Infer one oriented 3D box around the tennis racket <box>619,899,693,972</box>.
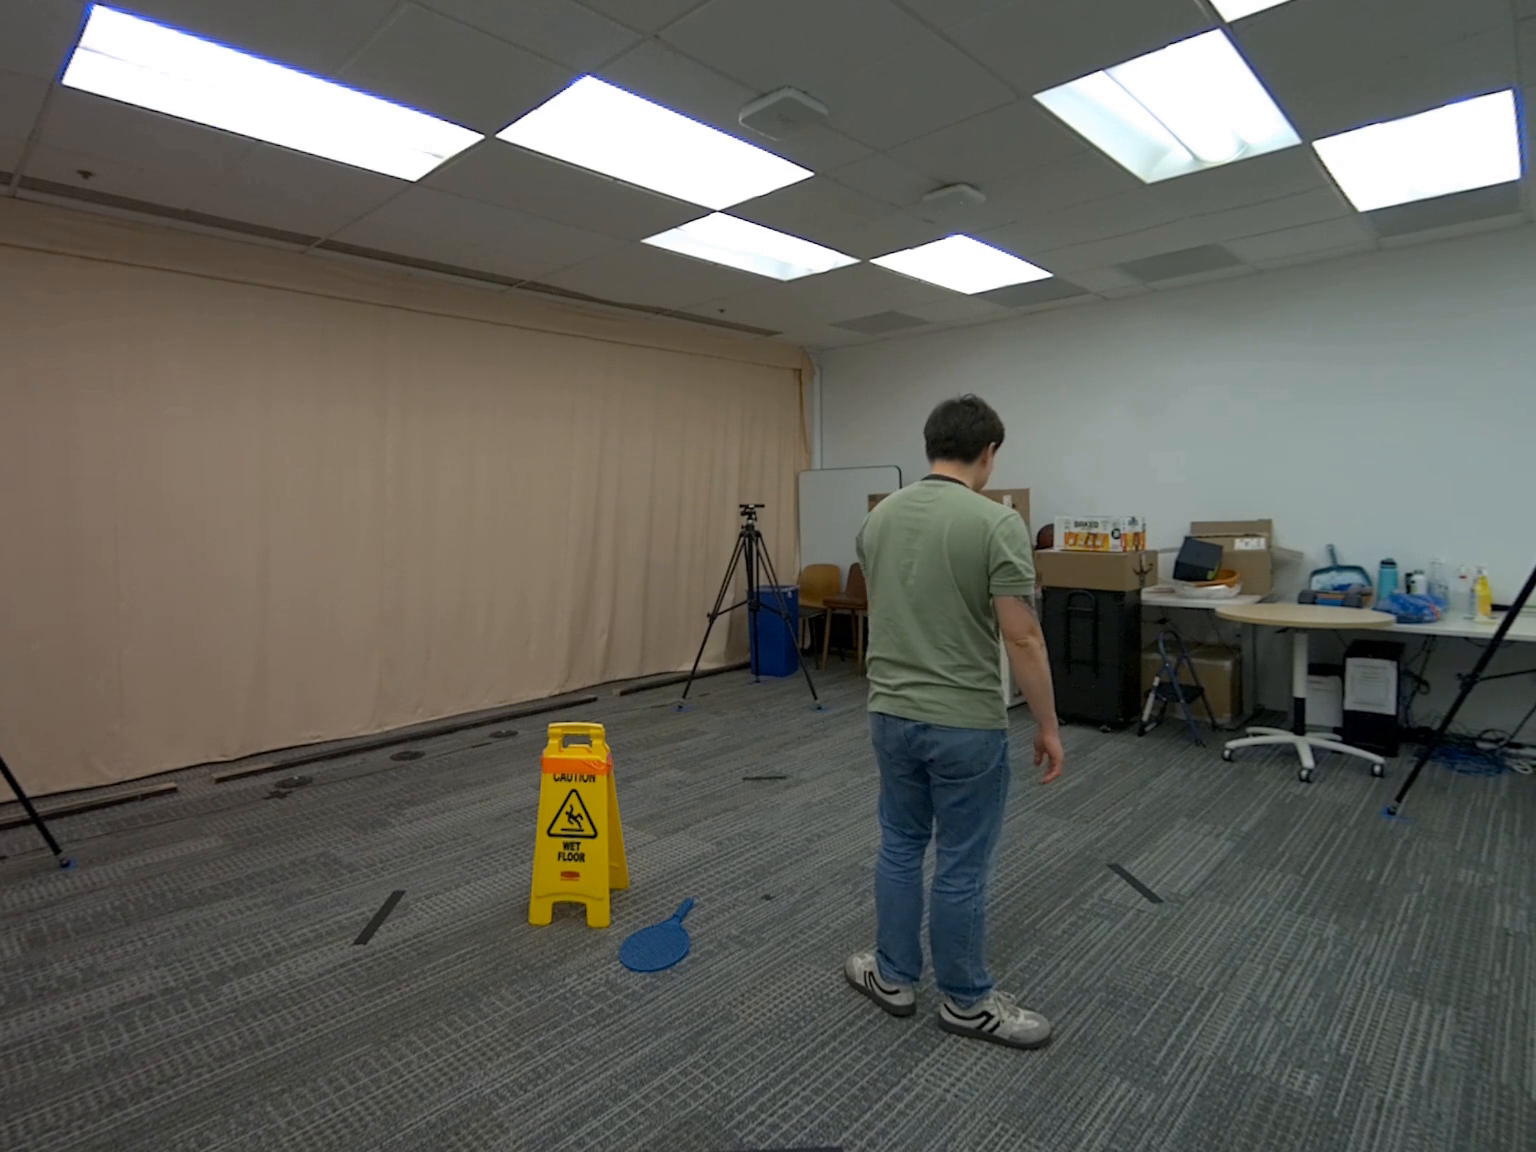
[{"bbox_3d":[-0.332,1.157,2.724,0.217,0.031,0.427,0,6,16],"label":"tennis racket"}]
